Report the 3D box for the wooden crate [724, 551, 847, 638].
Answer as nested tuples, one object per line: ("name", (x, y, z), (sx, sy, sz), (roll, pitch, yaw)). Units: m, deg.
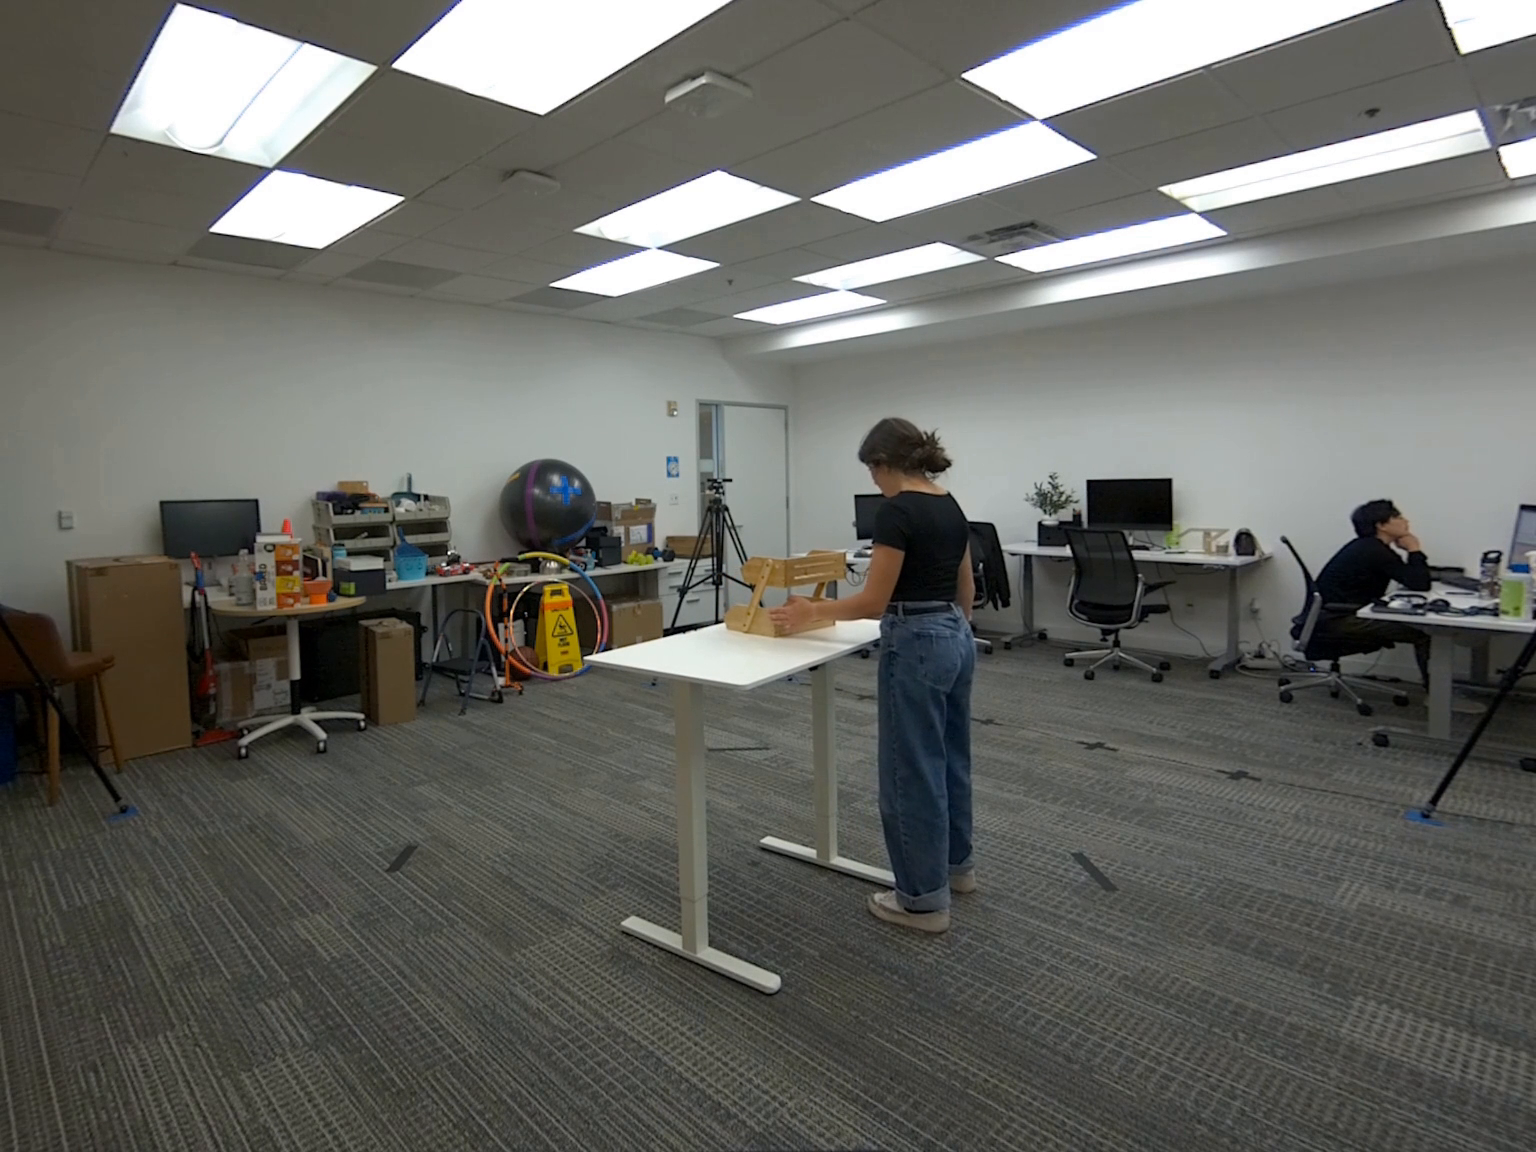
("wooden crate", (0.059, 0.046, 2.925), (0.316, 0.272, 0.311), (-7, 9, -43))
